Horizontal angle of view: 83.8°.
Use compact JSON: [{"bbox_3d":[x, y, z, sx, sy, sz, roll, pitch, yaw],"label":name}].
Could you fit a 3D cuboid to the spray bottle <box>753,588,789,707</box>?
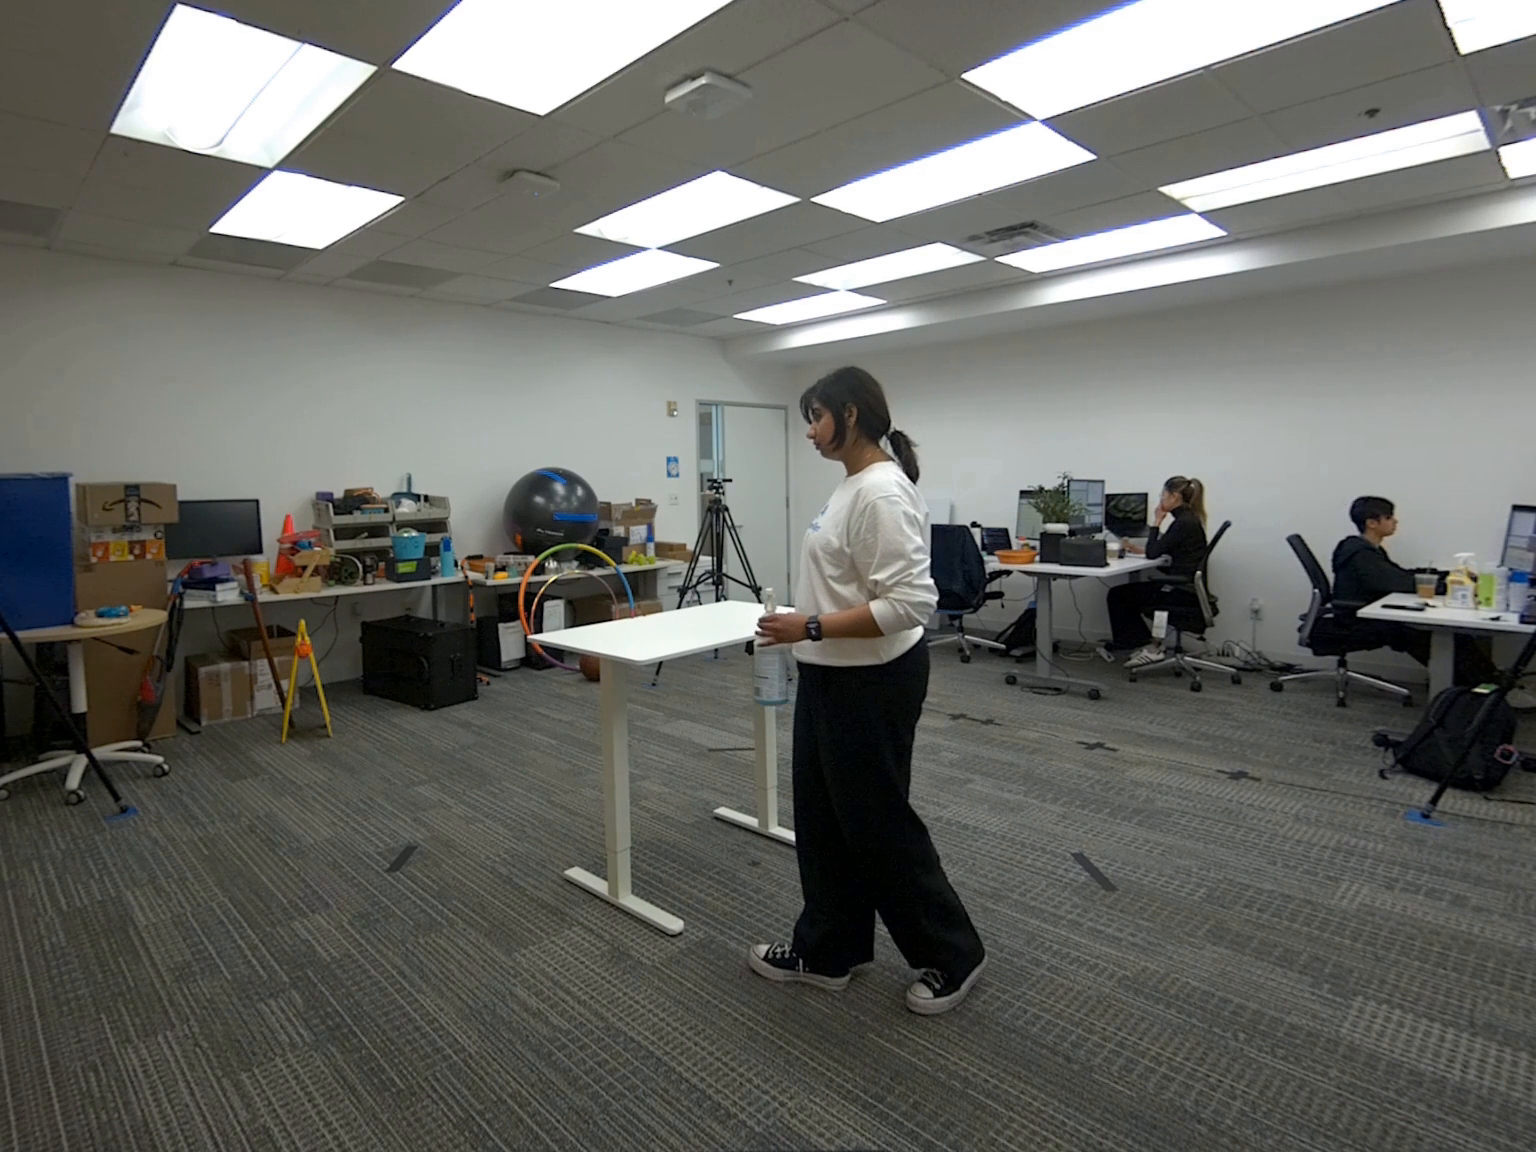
[{"bbox_3d":[0.019,0.174,2.180,0.089,0.297,0.088,1,2,31],"label":"spray bottle"}]
